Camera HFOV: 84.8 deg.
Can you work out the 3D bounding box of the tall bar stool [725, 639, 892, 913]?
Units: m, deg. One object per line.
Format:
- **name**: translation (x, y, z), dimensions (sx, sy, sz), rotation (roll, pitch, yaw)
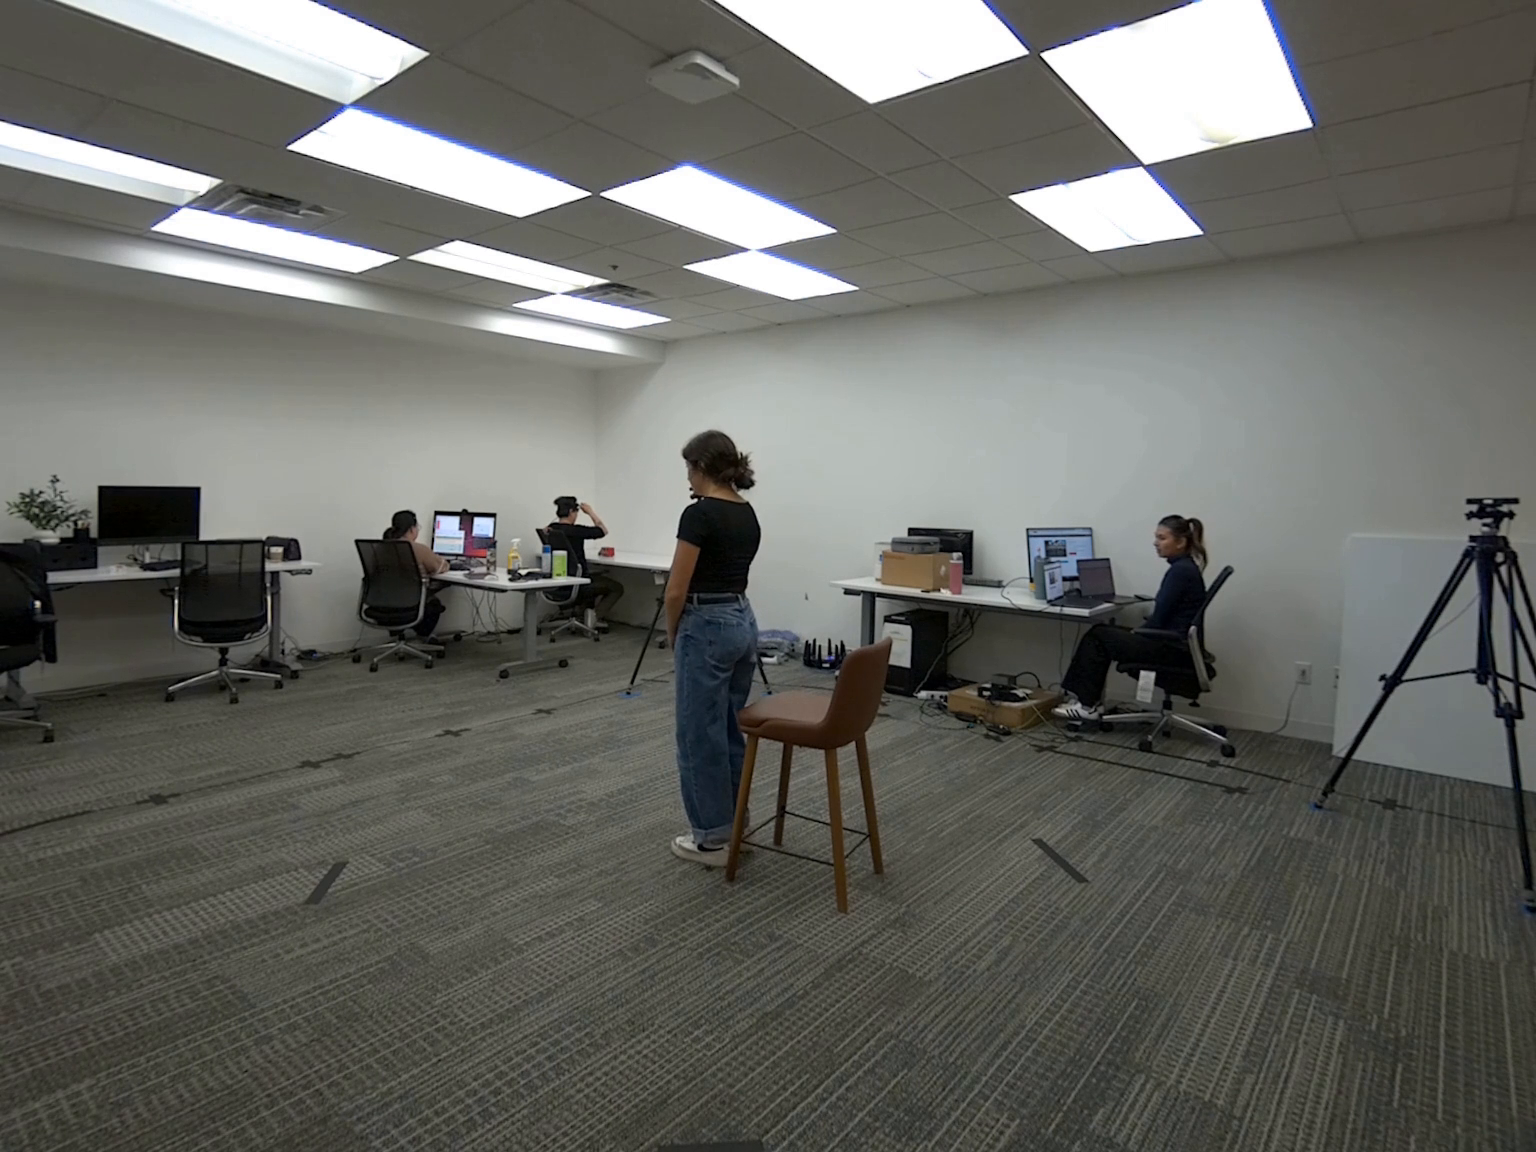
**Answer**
- **tall bar stool**: translation (0.149, 0.646, 3.042), dimensions (0.482, 0.886, 0.445), rotation (5, 5, 29)
